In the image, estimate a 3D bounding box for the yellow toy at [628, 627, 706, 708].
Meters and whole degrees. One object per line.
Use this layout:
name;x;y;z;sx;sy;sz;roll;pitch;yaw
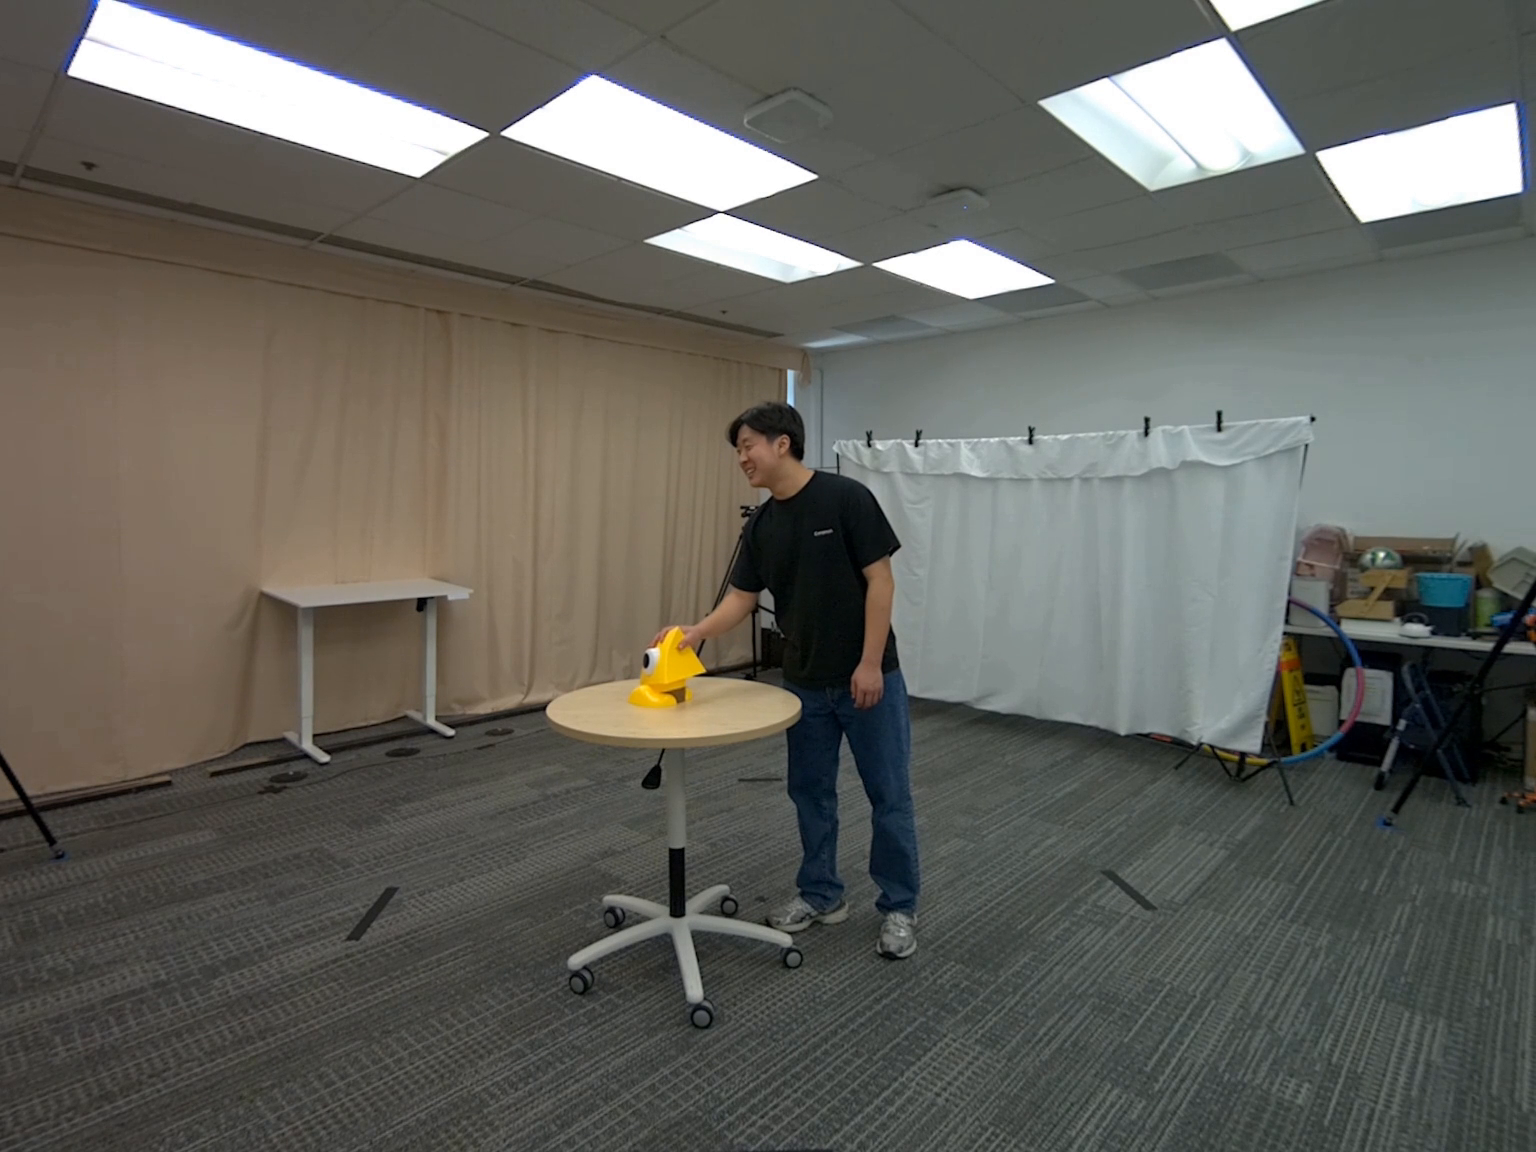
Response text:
yellow toy;-0.321;0.273;2.591;0.199;0.230;0.199;2;5;34
